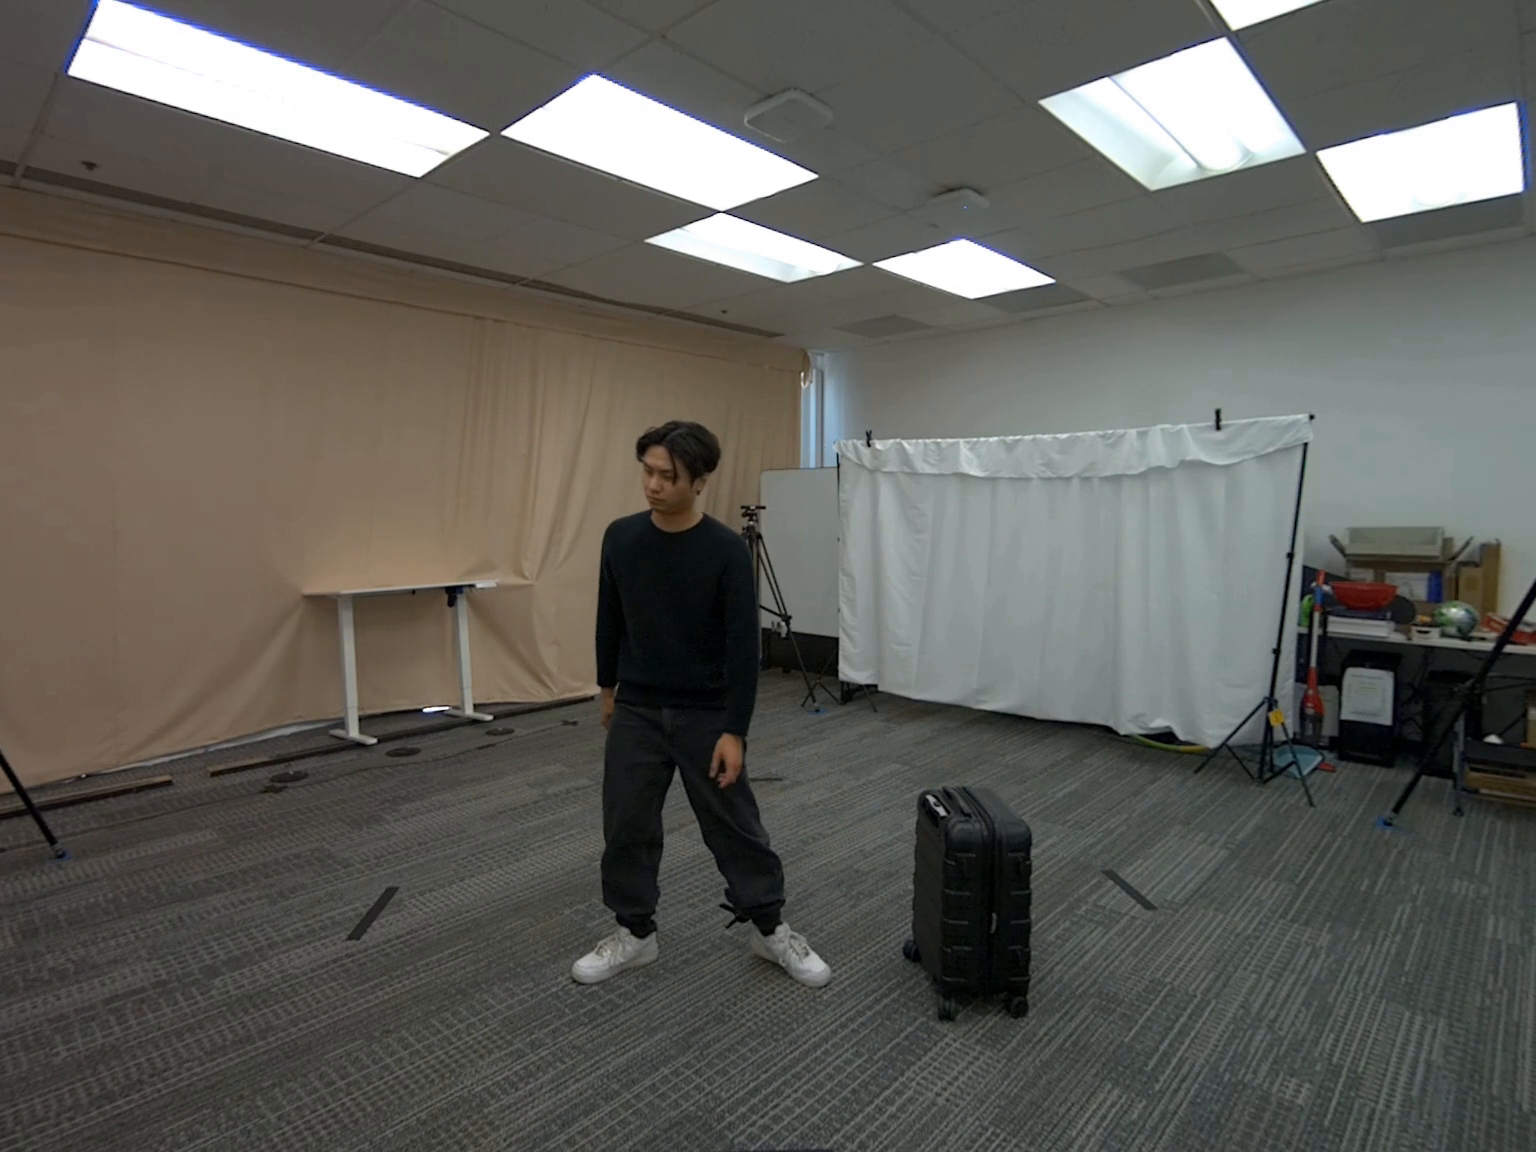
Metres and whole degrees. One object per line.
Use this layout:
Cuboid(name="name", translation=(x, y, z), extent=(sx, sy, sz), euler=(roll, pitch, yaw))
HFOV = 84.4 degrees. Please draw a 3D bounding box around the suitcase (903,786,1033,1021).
Cuboid(name="suitcase", translation=(0.587, 0.916, 2.435), extent=(0.247, 0.548, 0.377), euler=(2, 3, -4))
